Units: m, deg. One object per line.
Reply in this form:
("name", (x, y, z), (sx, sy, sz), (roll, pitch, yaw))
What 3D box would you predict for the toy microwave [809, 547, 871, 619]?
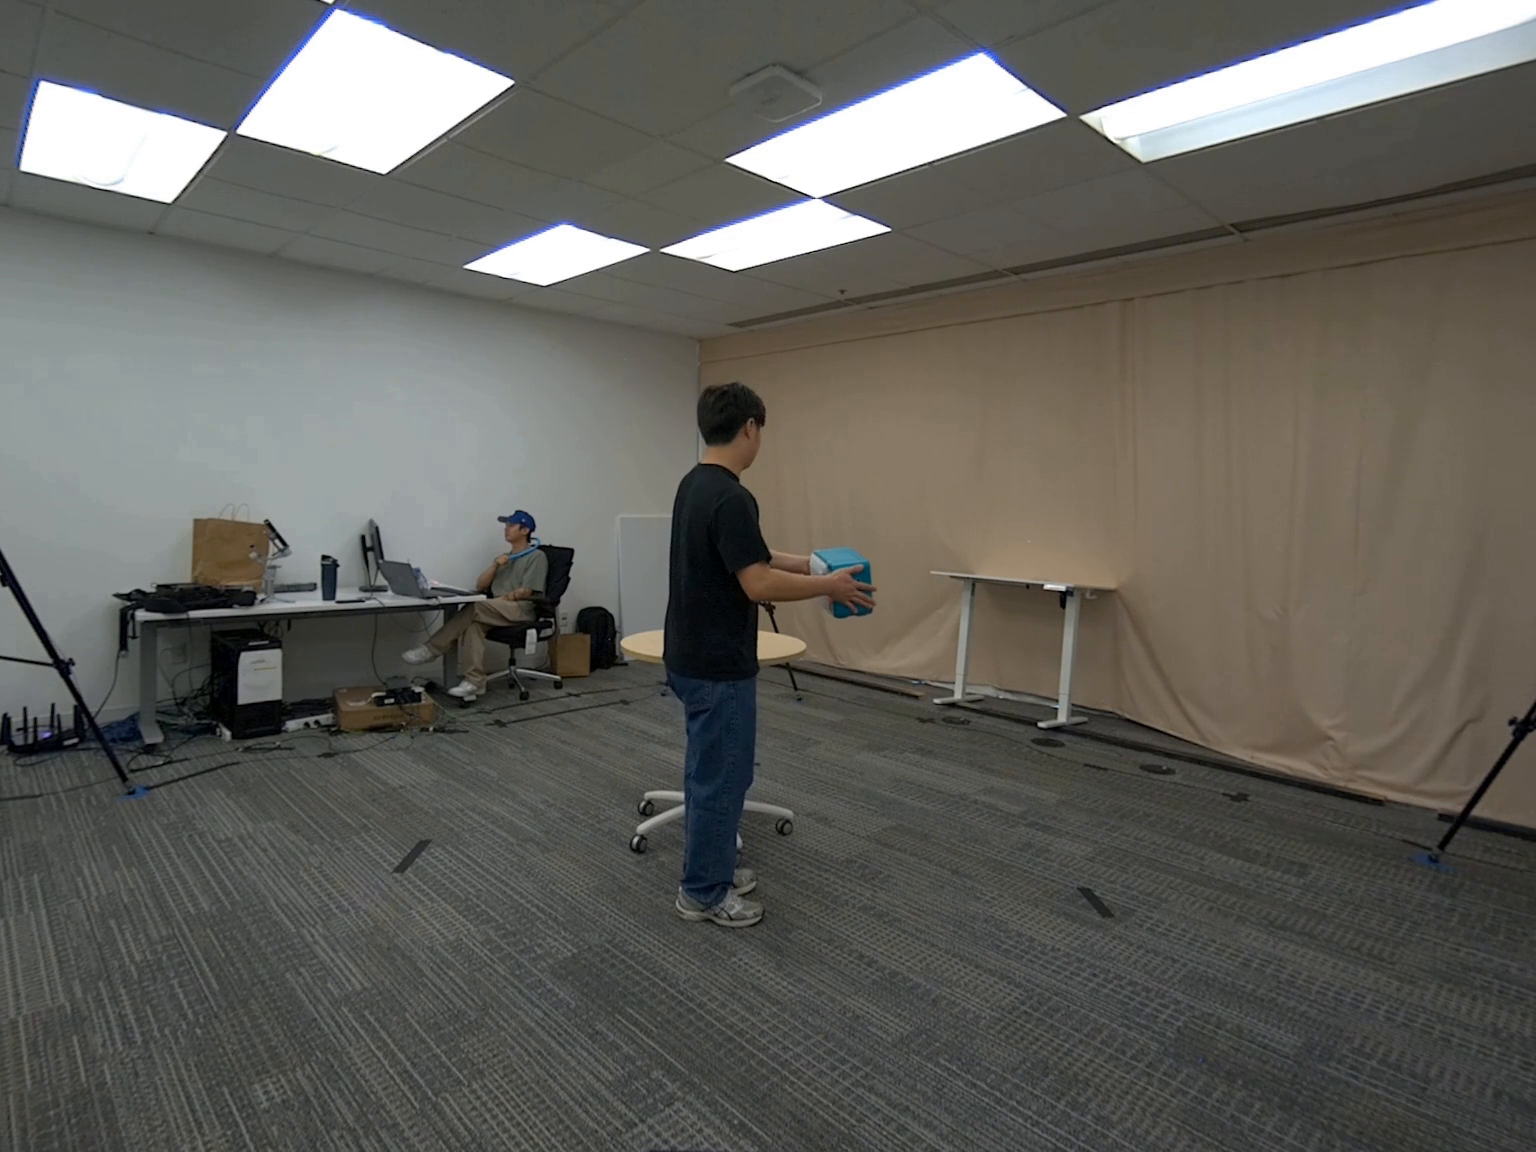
("toy microwave", (0.225, 0.020, 2.780), (0.152, 0.182, 0.289), (-7, 12, -5))
